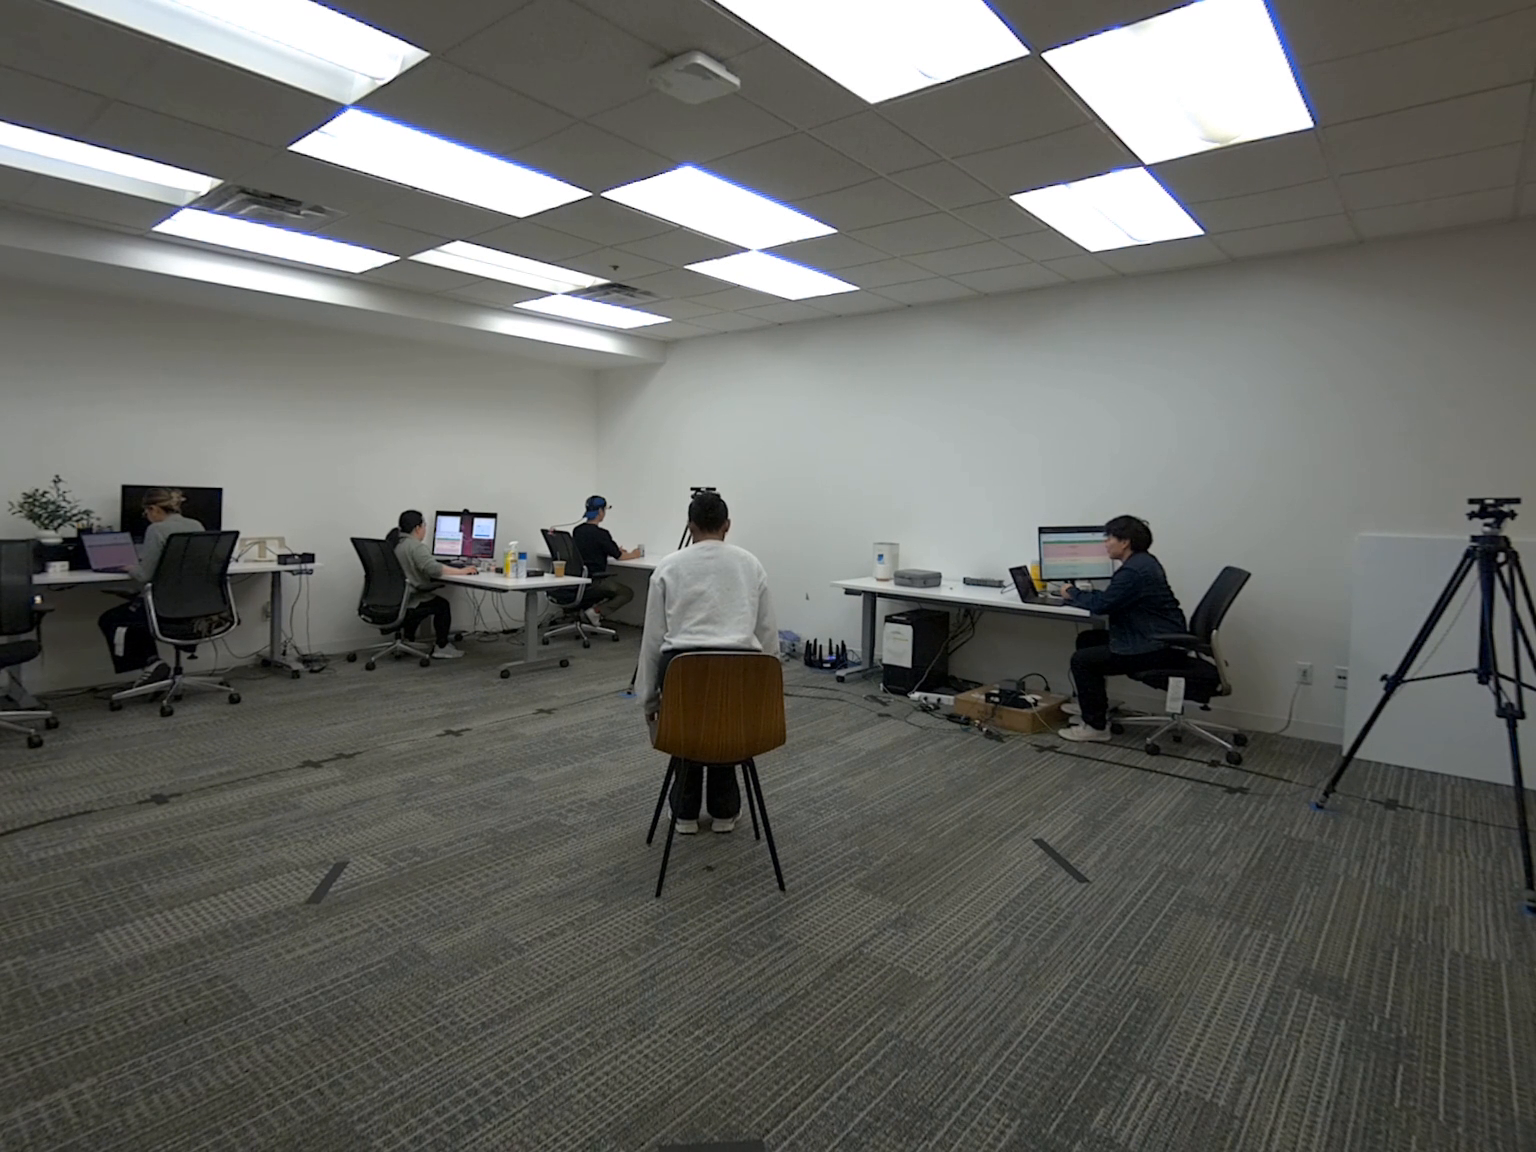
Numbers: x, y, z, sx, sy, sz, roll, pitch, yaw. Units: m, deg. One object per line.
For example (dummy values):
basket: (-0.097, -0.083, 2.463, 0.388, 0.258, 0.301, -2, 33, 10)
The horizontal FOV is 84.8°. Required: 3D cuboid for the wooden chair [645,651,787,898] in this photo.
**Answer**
wooden chair: (-0.208, 0.635, 3.109, 0.473, 0.872, 0.533, 0, 7, -11)
